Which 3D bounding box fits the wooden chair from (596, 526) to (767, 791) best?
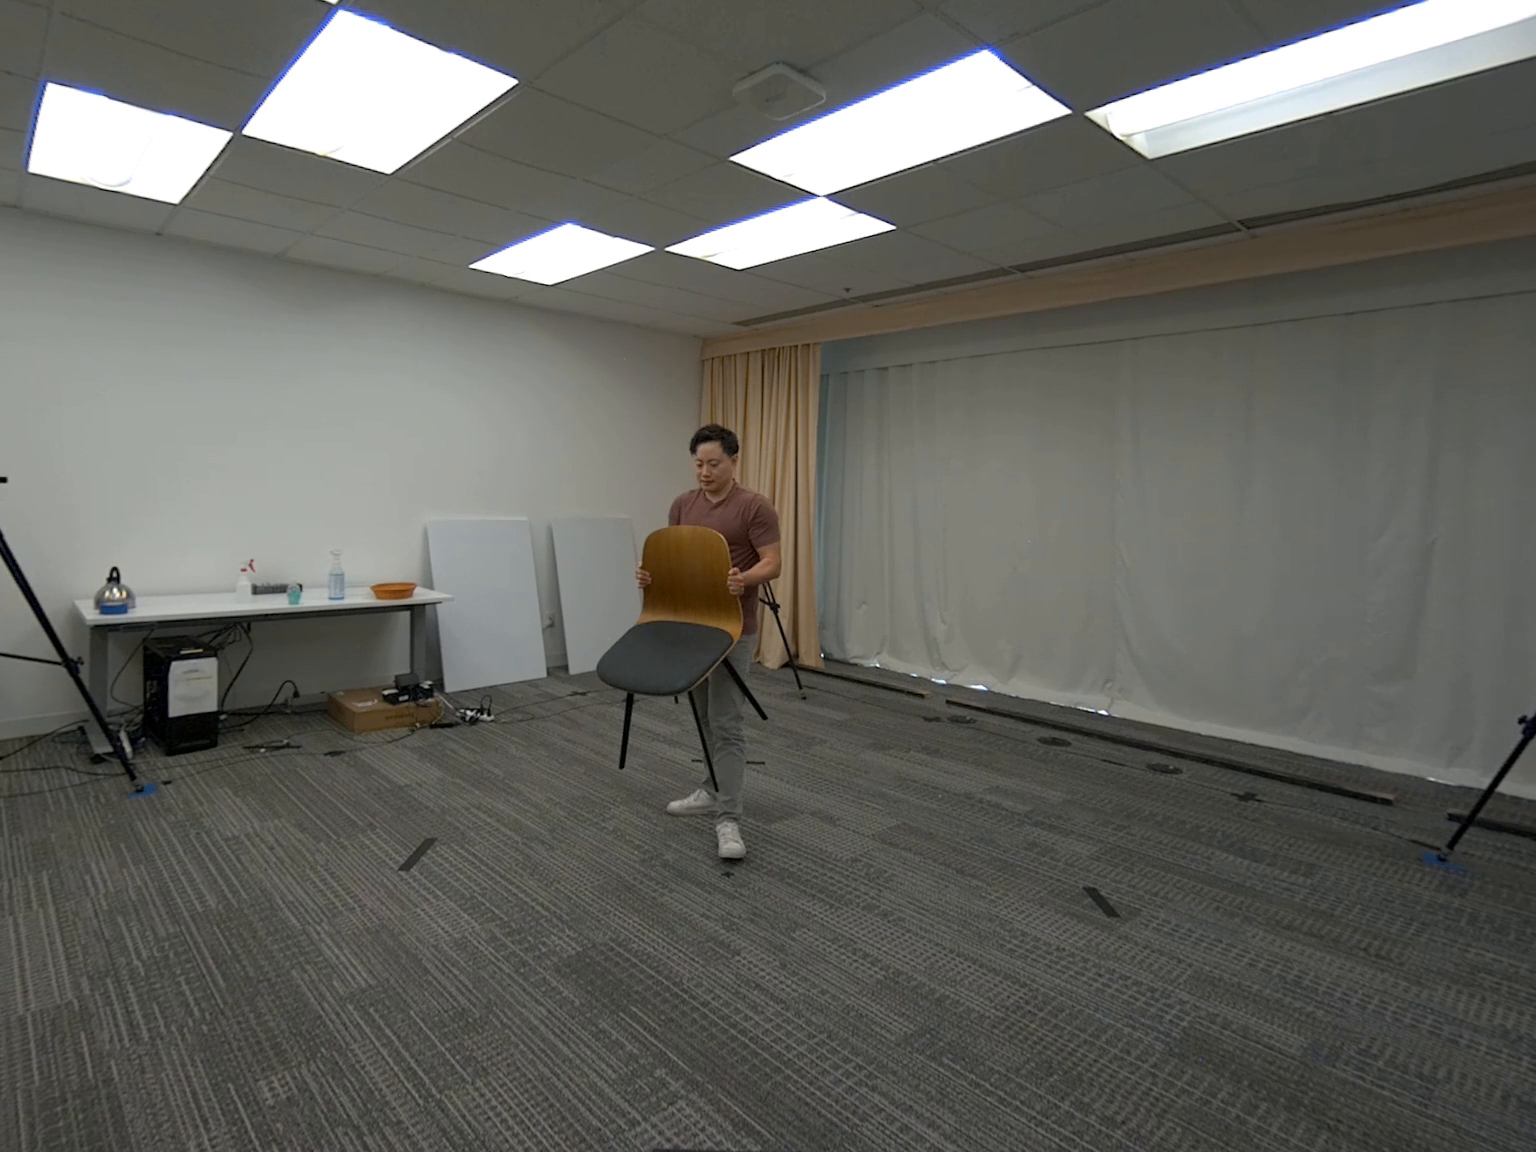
[{"bbox_3d":[-0.366,0.312,3.211,0.488,0.863,0.521,6,25,27],"label":"wooden chair"}]
